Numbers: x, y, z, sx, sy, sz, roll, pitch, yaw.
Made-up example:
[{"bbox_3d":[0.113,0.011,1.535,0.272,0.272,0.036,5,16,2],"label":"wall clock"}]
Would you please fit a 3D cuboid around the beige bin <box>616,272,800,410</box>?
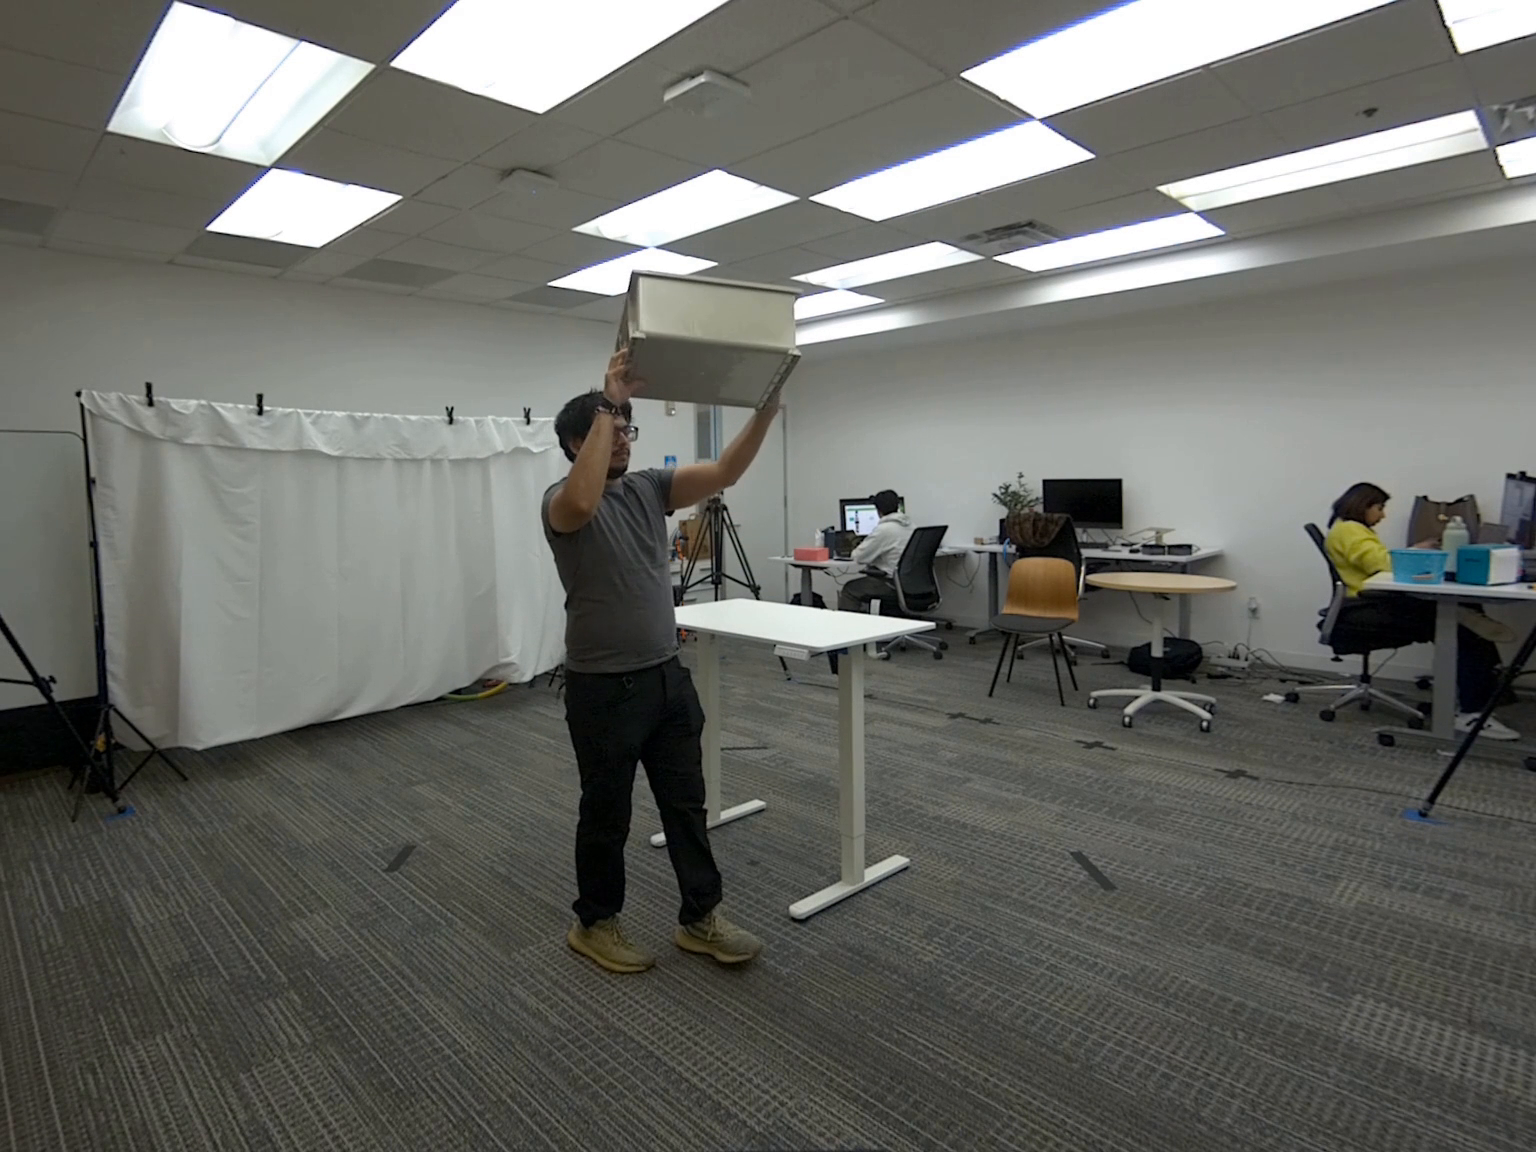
[{"bbox_3d":[-0.162,-0.582,2.190,0.416,0.192,0.377,4,-16,-15],"label":"beige bin"}]
